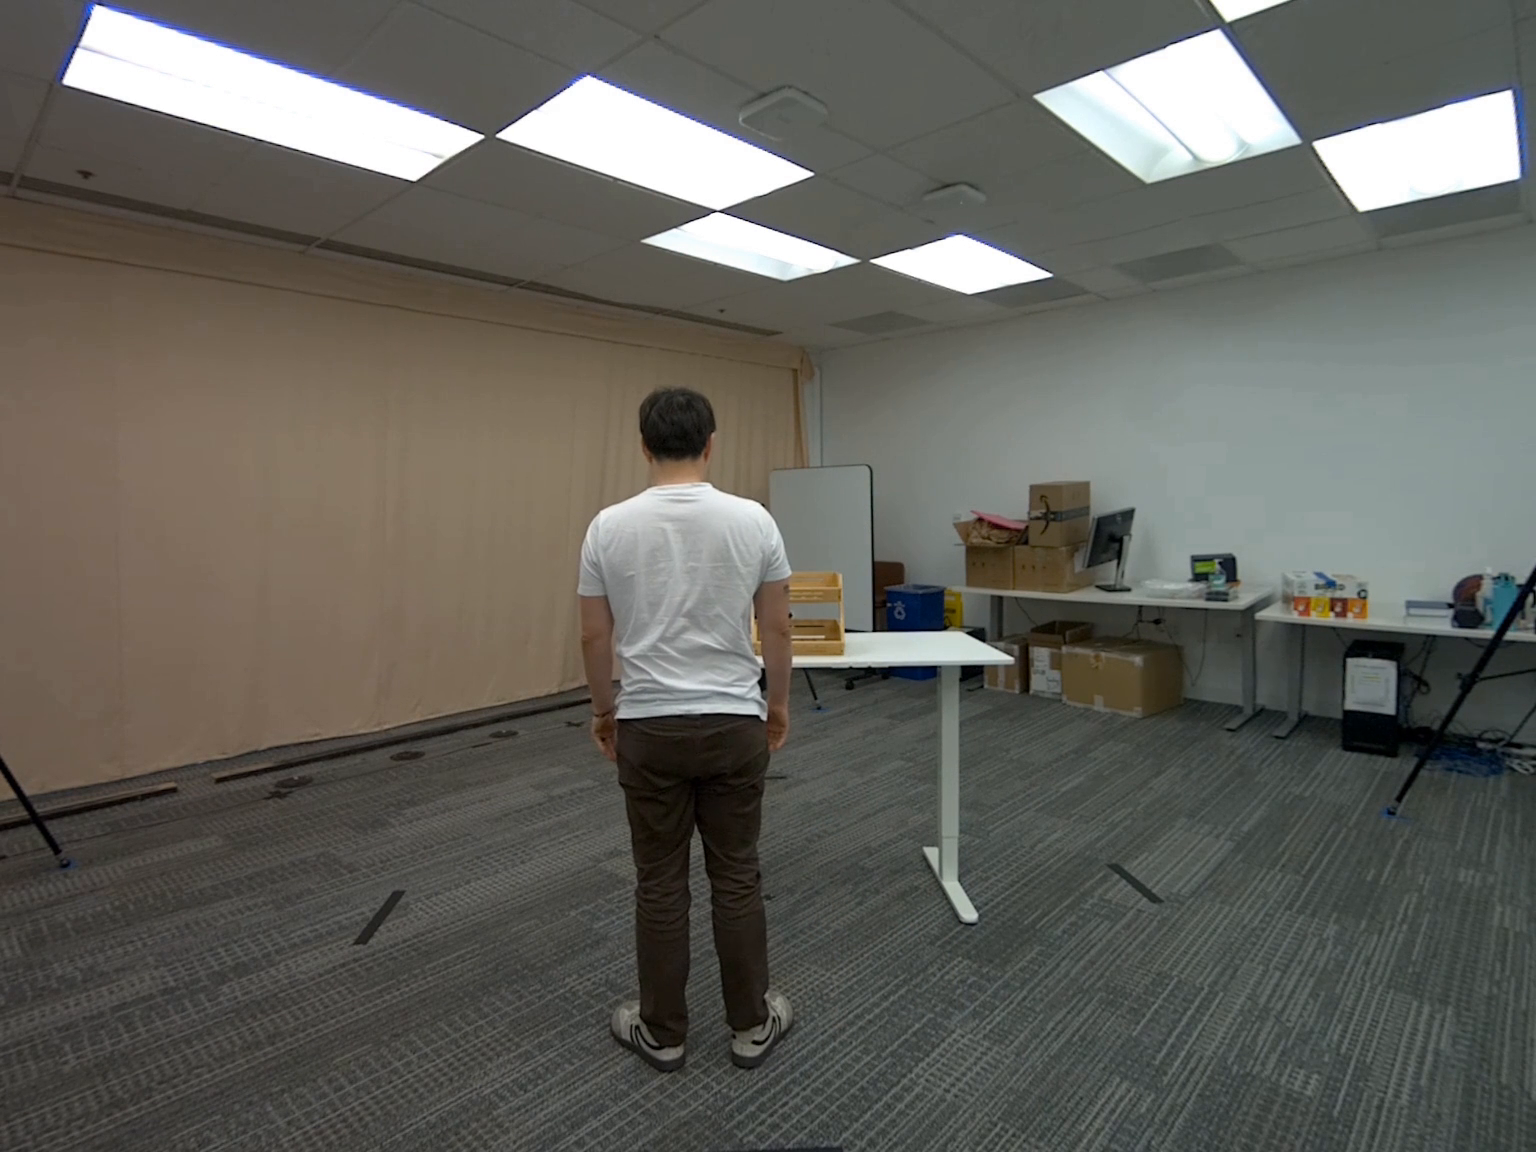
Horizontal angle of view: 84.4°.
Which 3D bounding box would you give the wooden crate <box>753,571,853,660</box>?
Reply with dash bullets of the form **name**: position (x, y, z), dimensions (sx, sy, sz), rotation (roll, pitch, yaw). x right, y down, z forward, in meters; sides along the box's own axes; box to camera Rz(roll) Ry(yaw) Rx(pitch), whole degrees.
- **wooden crate**: position (0.113, 0.129, 2.942), dimensions (0.325, 0.273, 0.302), rotation (0, 3, 2)
